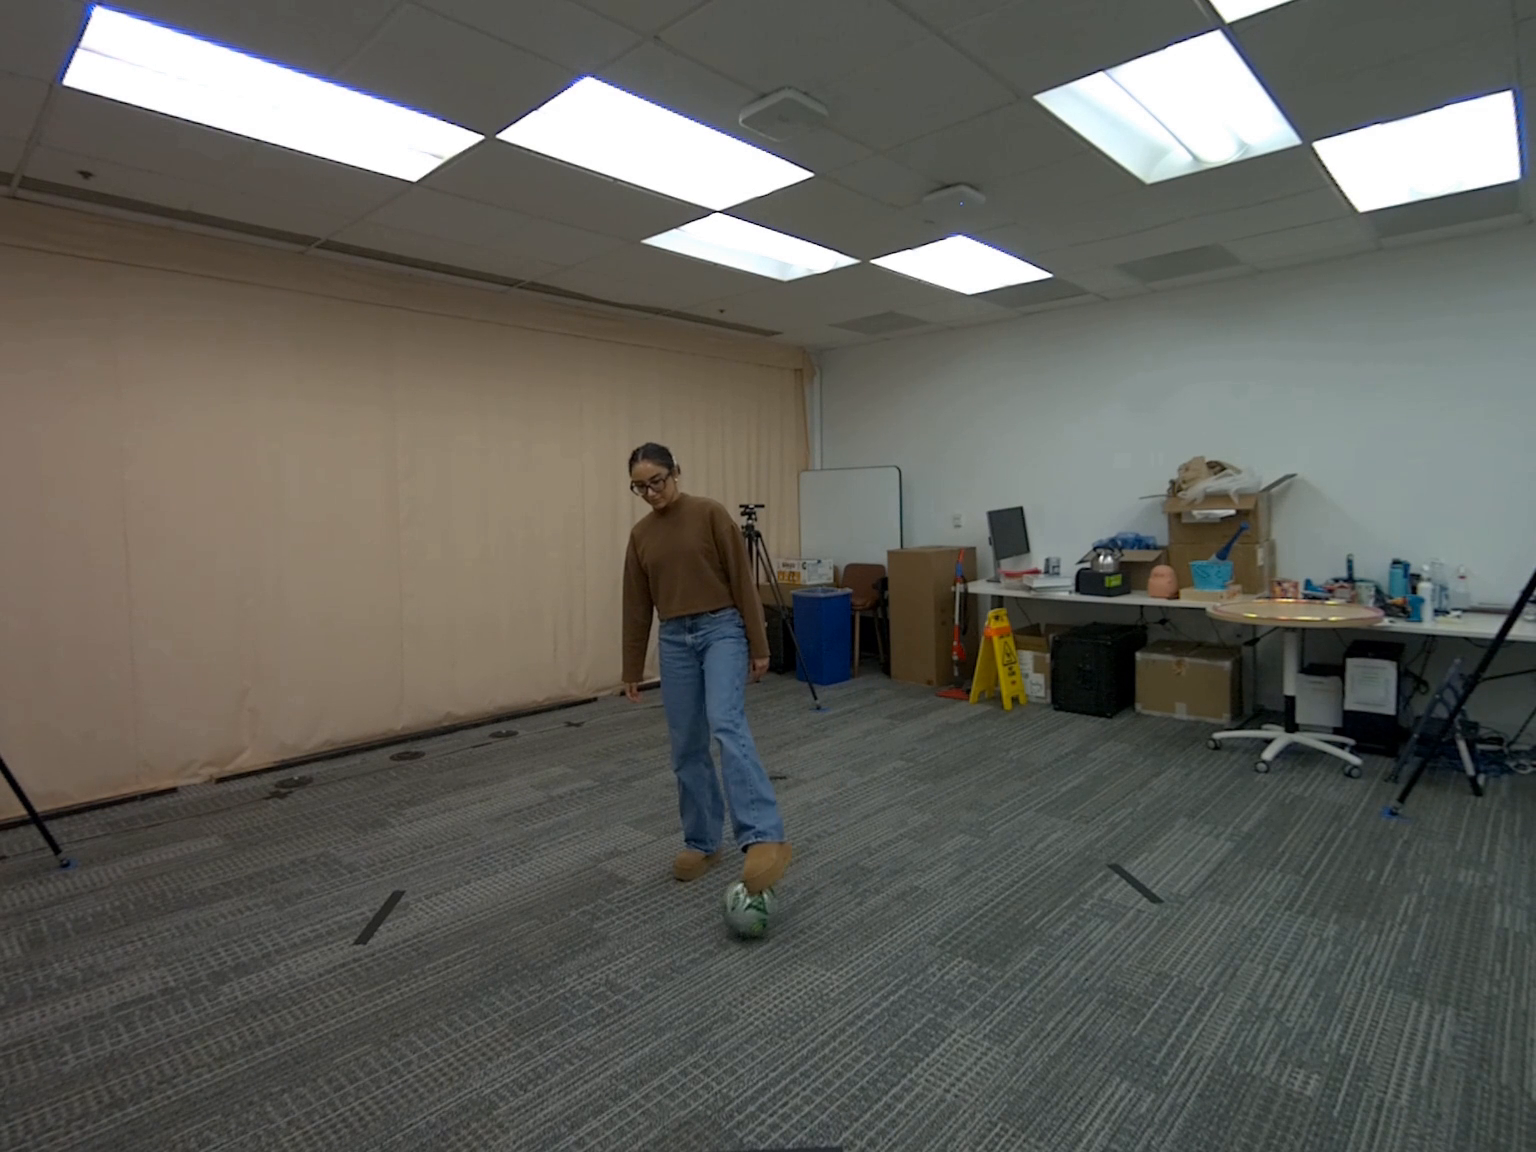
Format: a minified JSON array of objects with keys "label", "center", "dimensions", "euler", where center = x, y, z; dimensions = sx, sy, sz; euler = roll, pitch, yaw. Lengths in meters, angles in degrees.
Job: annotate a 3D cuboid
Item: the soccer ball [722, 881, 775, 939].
[{"label":"soccer ball","center":[-0.059,1.069,2.733],"dimensions":[0.187,0.187,0.188],"euler":[-1,4,-2]}]
